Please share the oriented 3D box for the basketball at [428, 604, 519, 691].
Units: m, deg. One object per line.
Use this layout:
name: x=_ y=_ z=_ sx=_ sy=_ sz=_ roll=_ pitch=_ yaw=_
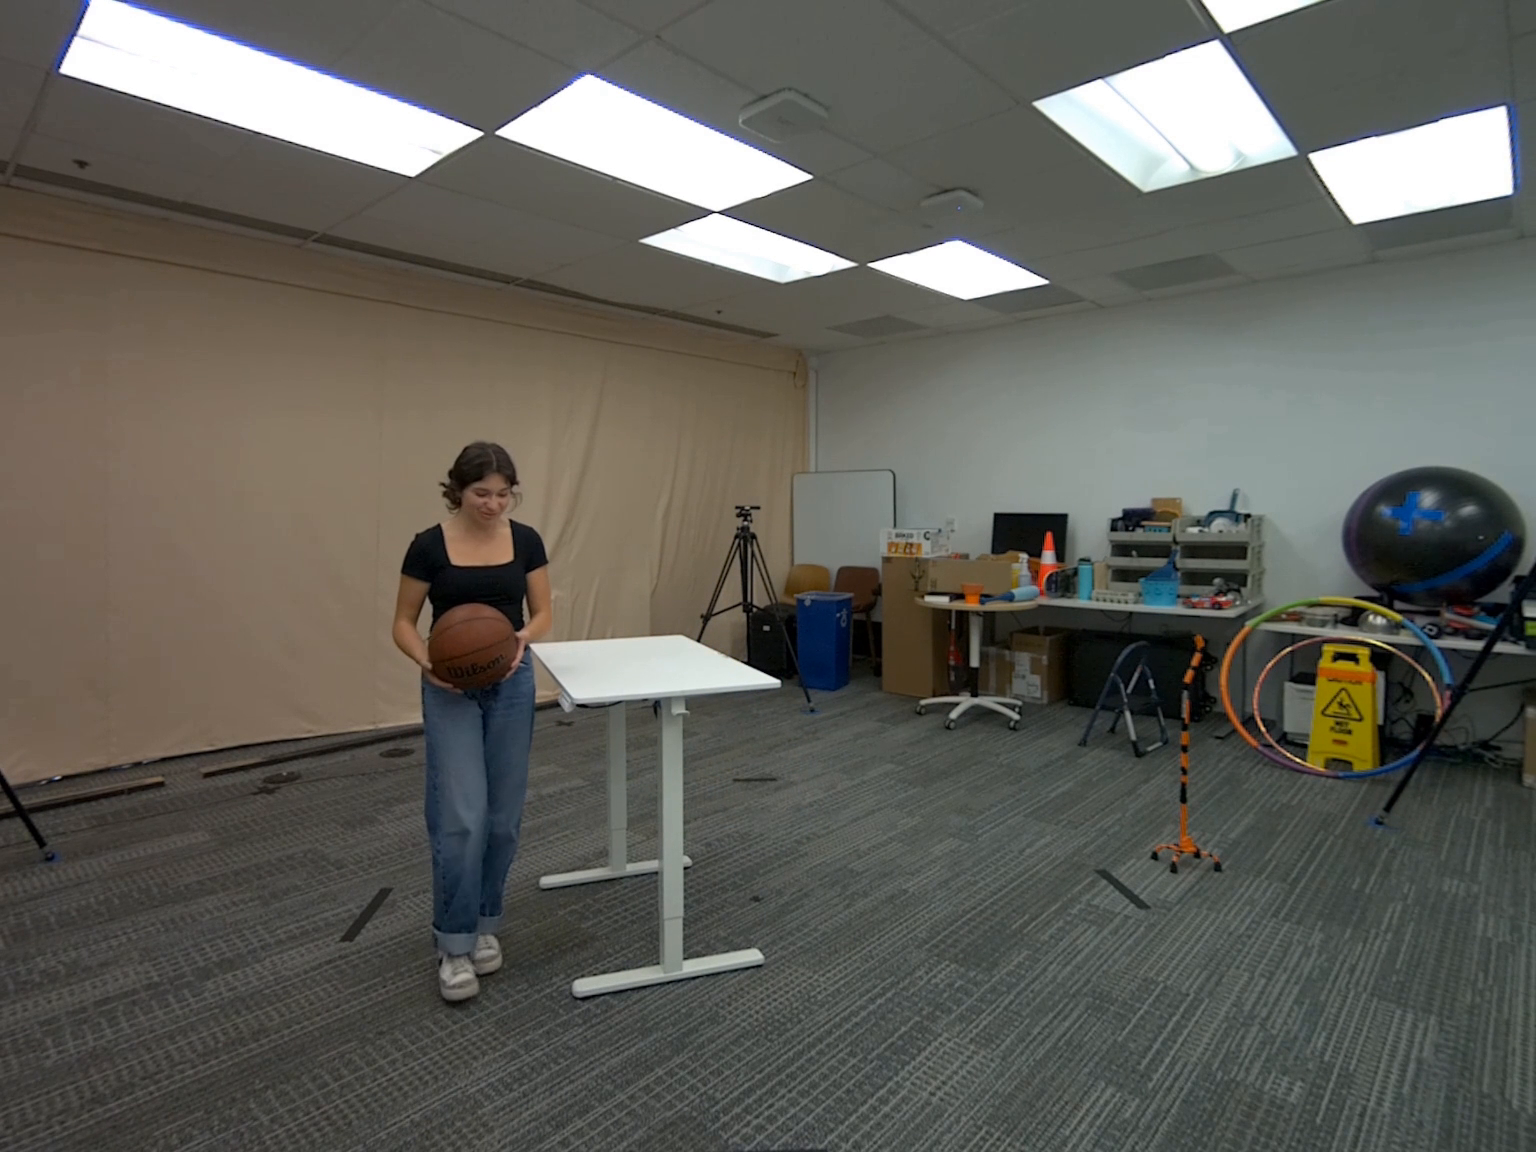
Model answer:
basketball: x=-0.825 y=0.193 z=2.341 sx=0.236 sy=0.235 sz=0.237 roll=0 pitch=4 yaw=-2
